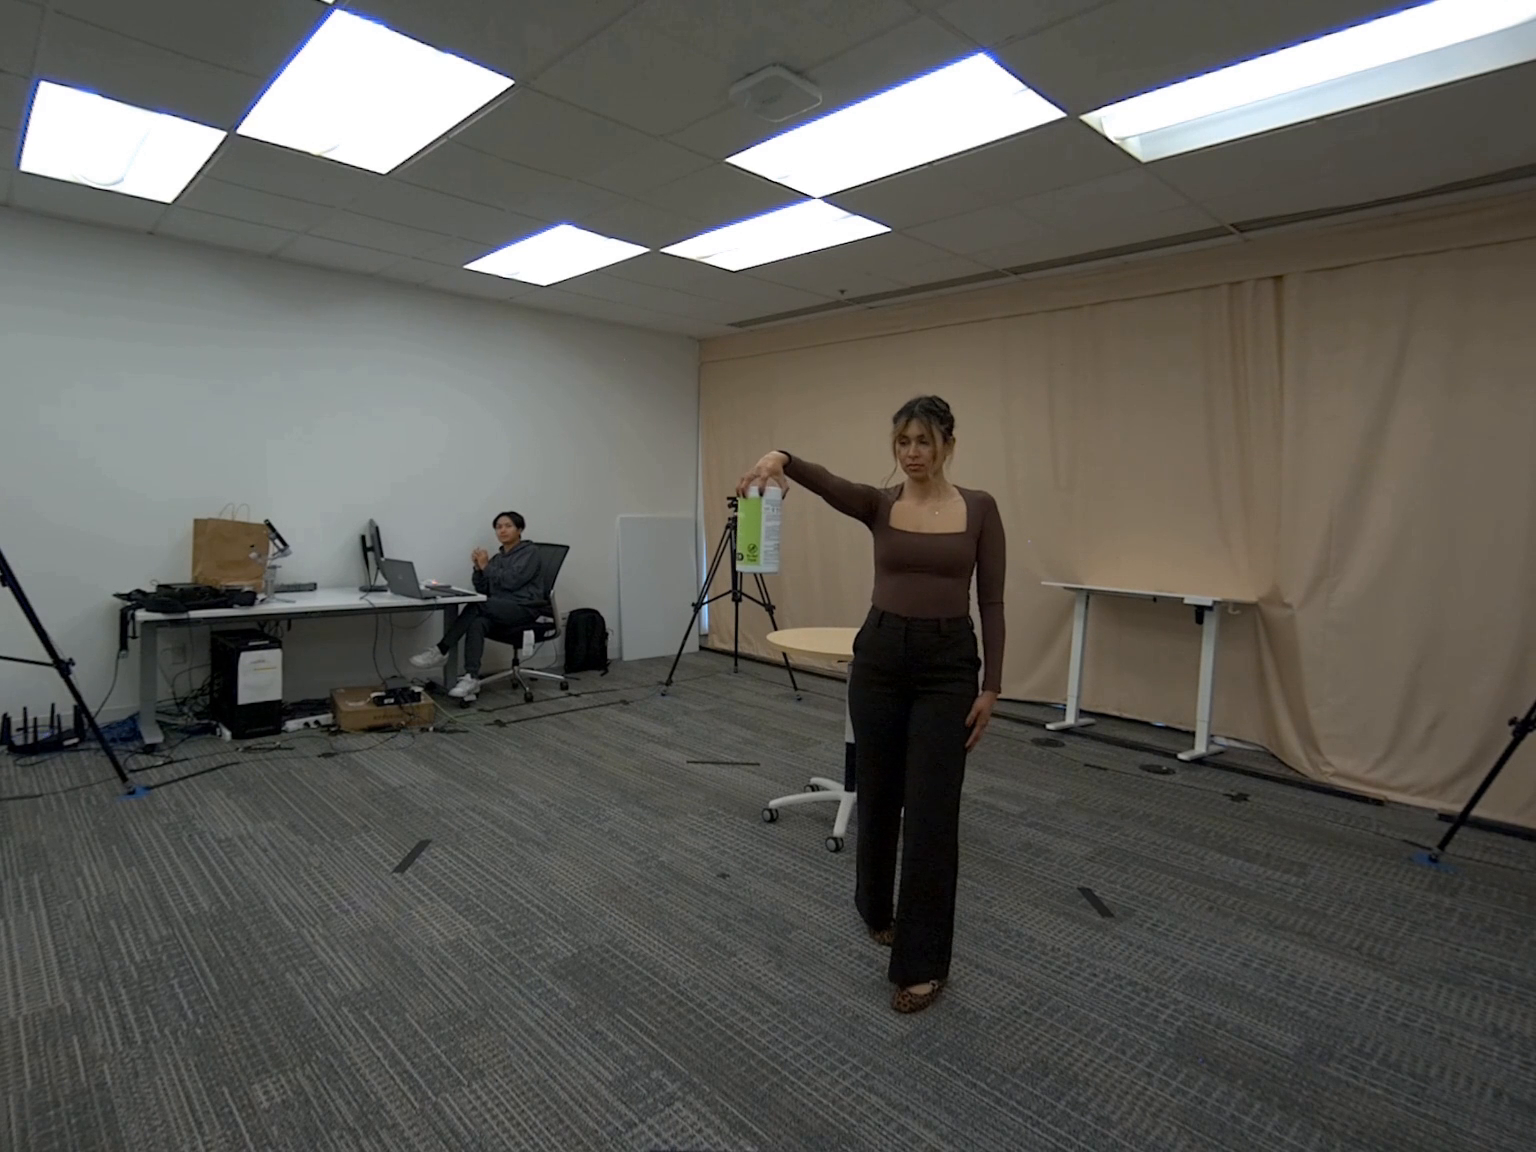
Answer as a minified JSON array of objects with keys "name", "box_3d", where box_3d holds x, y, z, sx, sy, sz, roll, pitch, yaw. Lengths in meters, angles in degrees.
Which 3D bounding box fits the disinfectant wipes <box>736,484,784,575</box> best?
[{"name":"disinfectant wipes","box_3d":[-0.023,-0.112,2.113,0.118,0.217,0.118,1,2,-1]}]
